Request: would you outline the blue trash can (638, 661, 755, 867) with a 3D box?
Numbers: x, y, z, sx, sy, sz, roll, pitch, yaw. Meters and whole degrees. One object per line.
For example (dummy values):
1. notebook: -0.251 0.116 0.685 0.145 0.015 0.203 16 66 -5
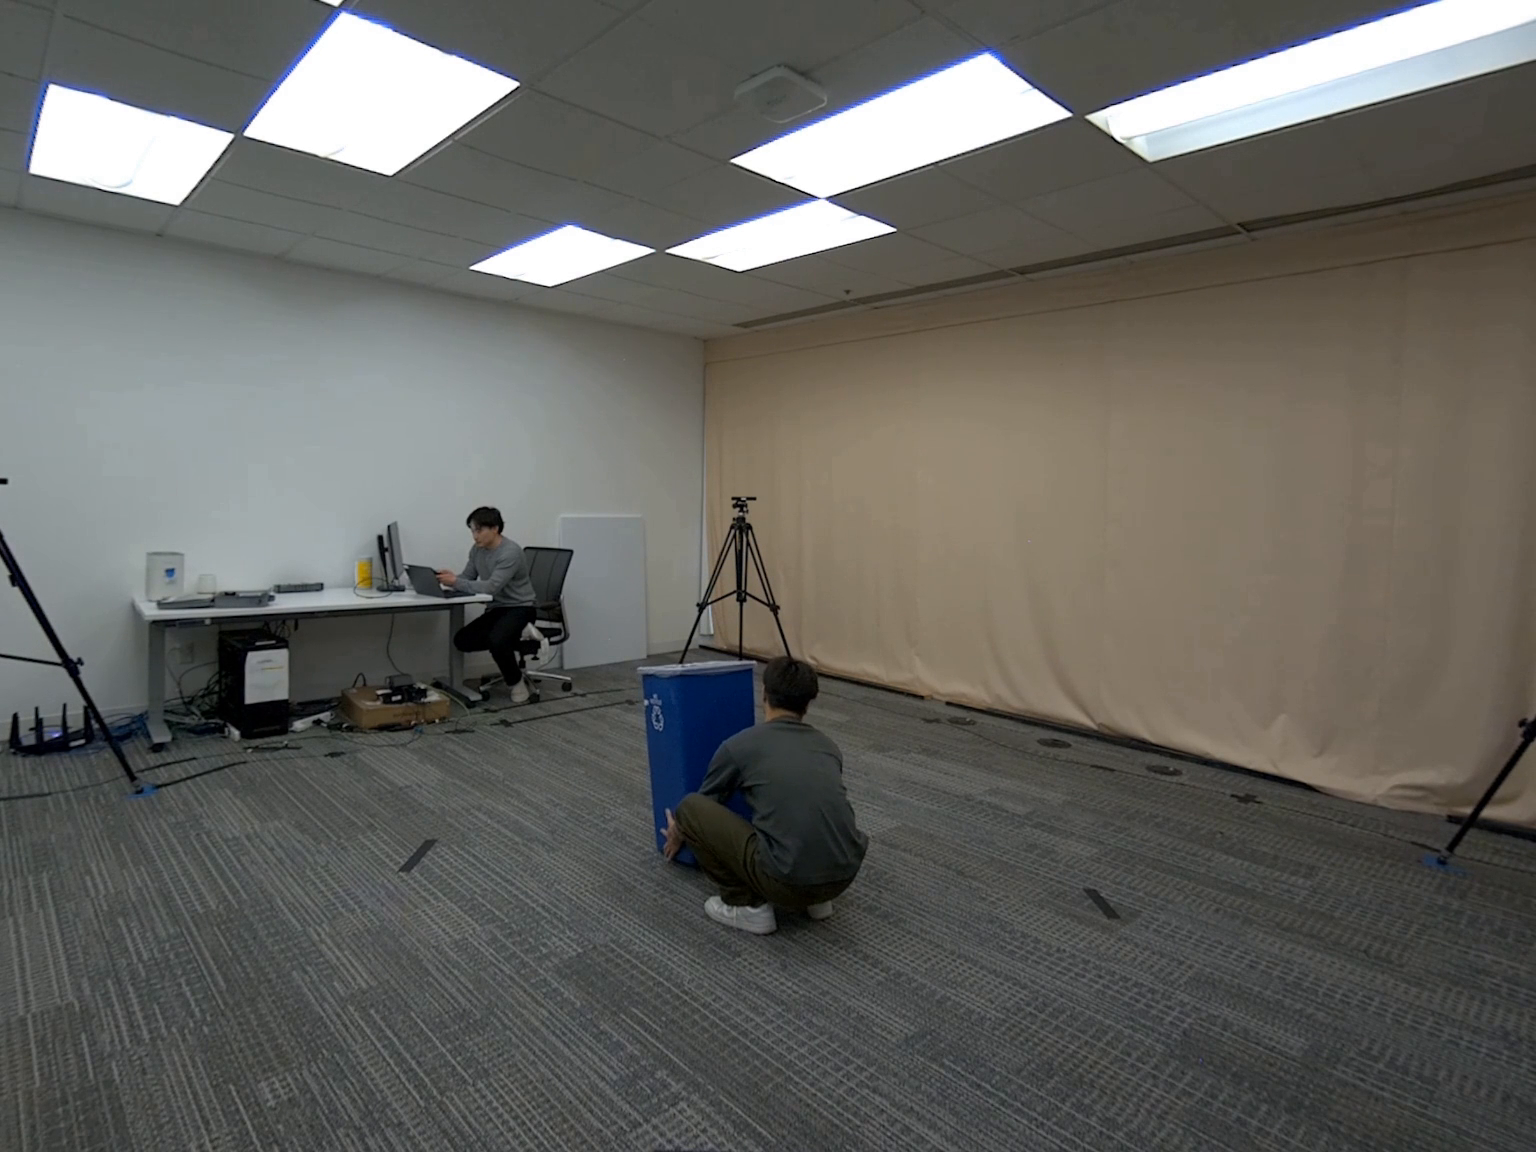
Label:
1. blue trash can: -0.275 0.705 3.304 0.366 0.716 0.385 0 -6 -32
